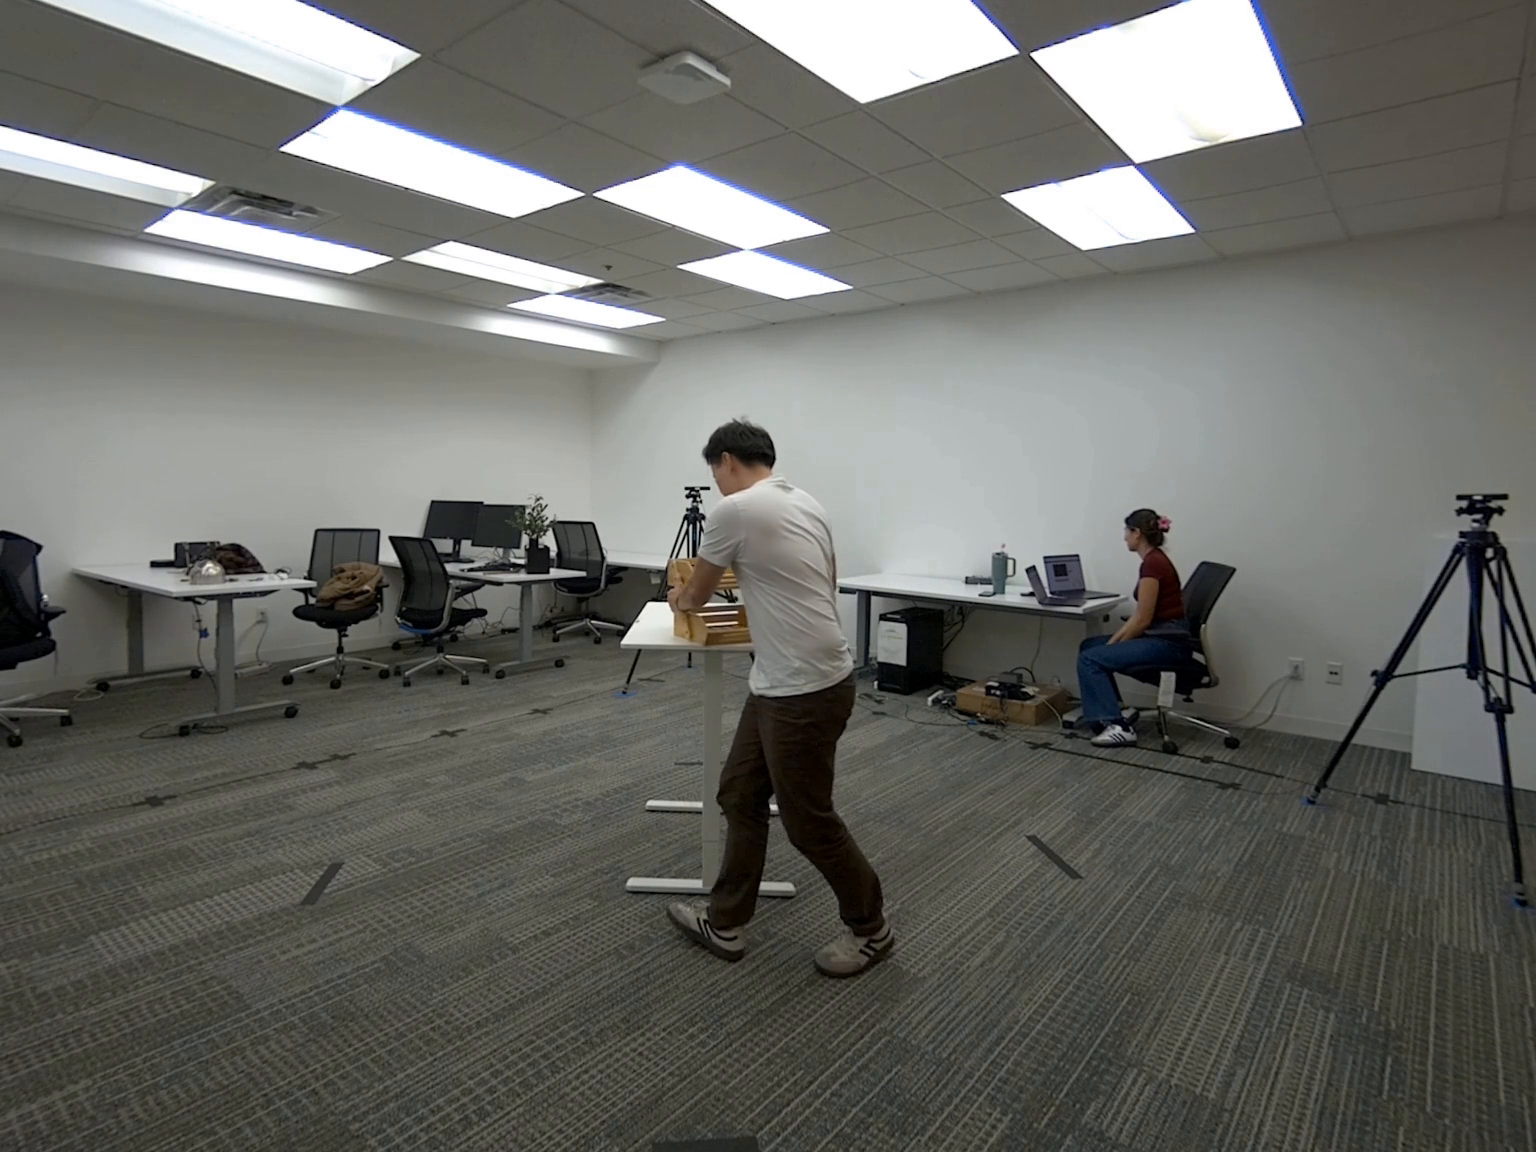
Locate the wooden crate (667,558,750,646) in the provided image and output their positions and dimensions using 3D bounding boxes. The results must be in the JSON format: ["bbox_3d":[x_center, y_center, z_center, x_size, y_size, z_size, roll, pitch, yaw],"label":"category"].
[{"bbox_3d":[-0.158,0.073,2.921,0.316,0.273,0.311,-1,4,-30],"label":"wooden crate"}]
